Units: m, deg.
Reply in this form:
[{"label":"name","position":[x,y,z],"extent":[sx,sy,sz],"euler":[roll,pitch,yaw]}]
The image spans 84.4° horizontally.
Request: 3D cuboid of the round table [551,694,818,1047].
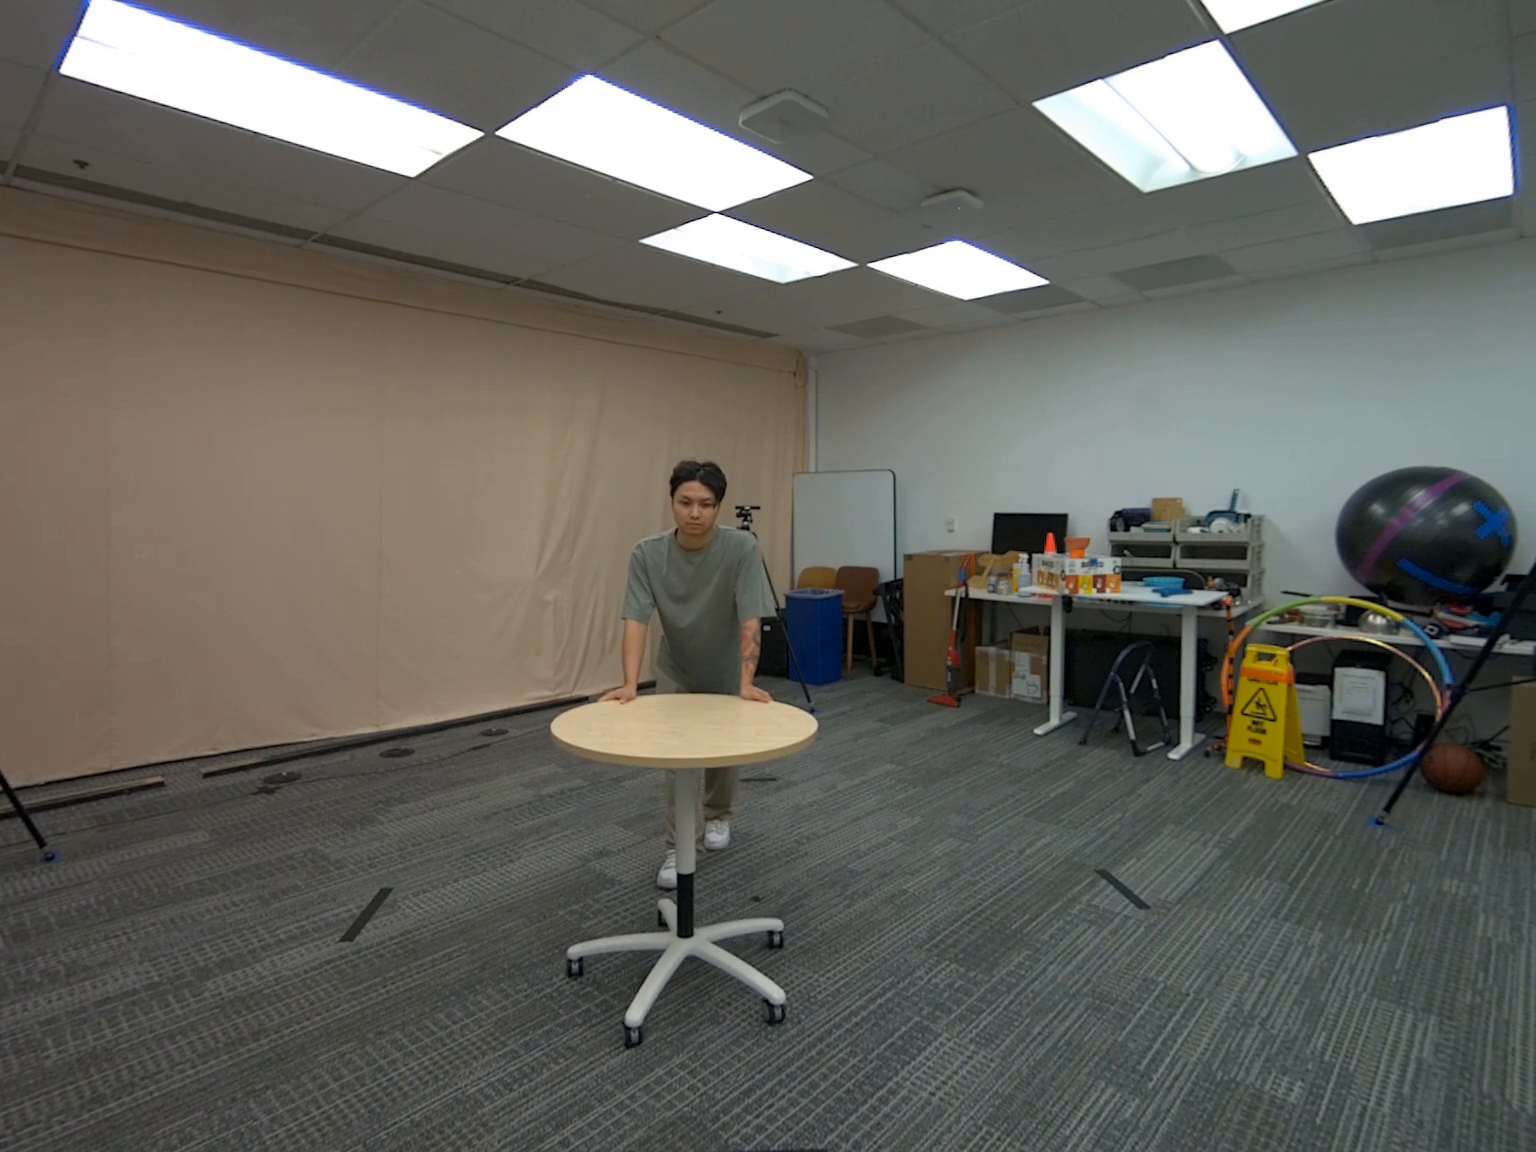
[{"label":"round table","position":[-0.248,0.800,2.449],"extent":[0.784,0.785,0.787],"euler":[0,3,-2]}]
